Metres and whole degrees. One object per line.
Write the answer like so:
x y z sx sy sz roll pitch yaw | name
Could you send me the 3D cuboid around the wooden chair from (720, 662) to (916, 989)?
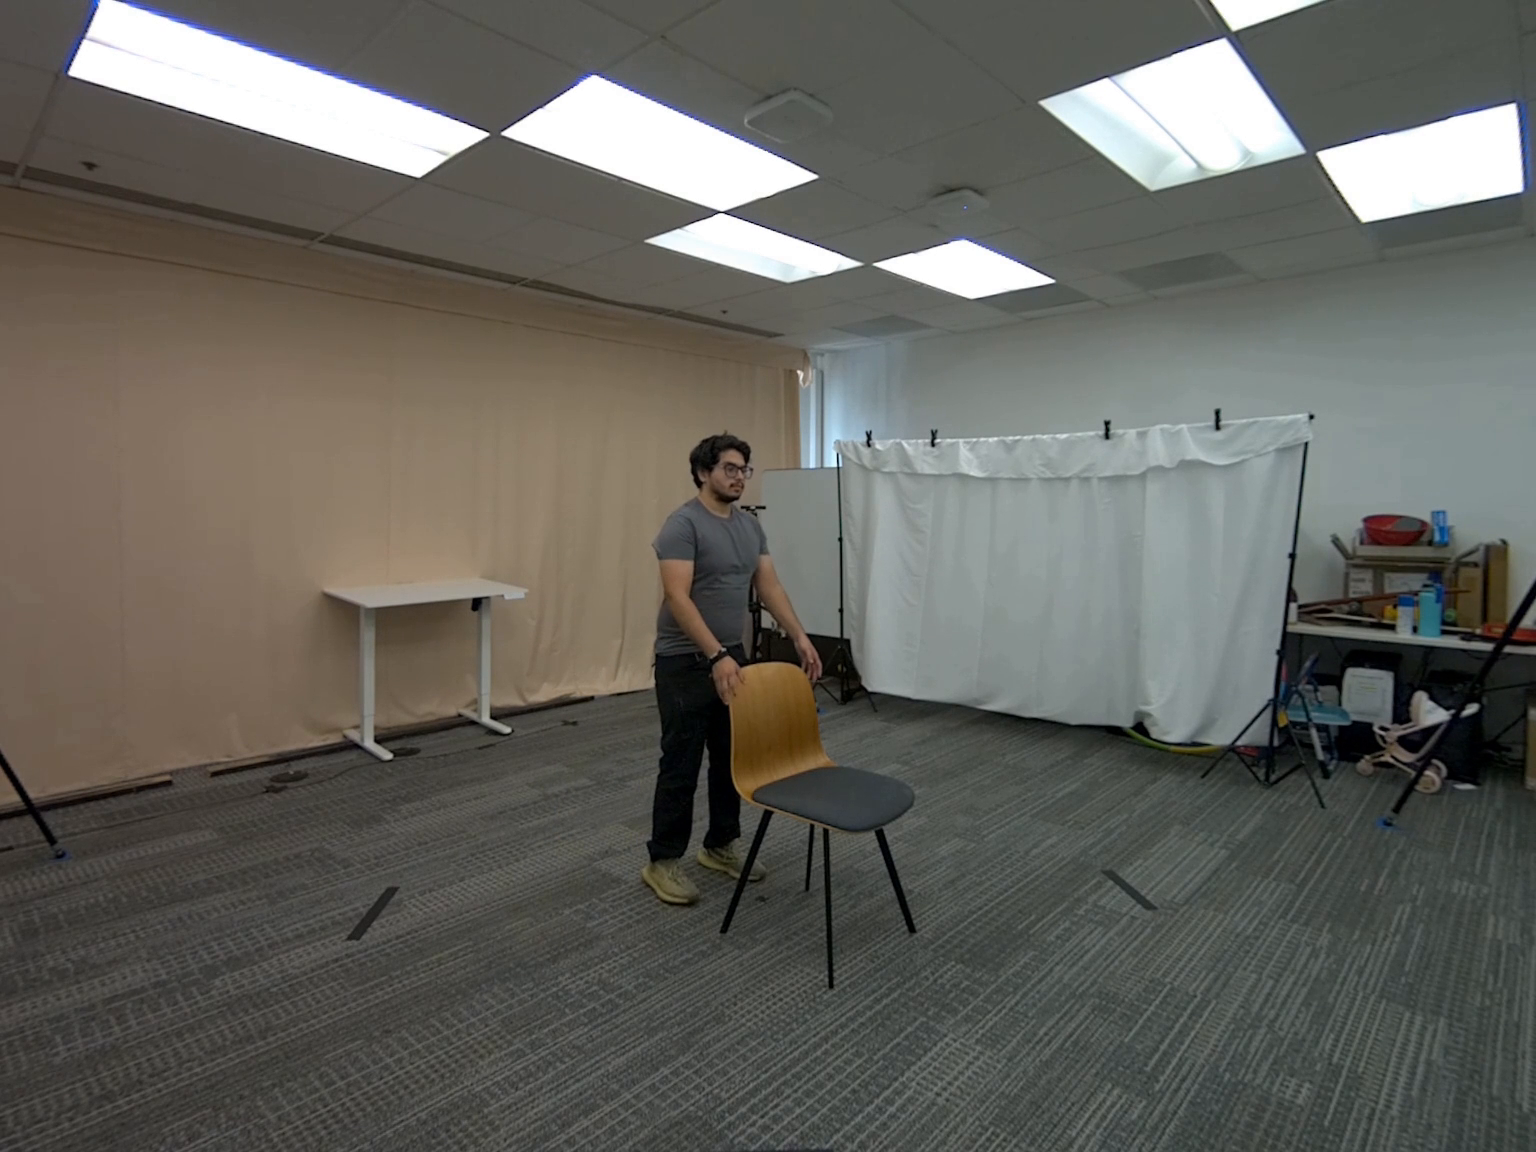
0.175 0.738 2.704 0.539 0.877 0.463 -3 0 43 | wooden chair
